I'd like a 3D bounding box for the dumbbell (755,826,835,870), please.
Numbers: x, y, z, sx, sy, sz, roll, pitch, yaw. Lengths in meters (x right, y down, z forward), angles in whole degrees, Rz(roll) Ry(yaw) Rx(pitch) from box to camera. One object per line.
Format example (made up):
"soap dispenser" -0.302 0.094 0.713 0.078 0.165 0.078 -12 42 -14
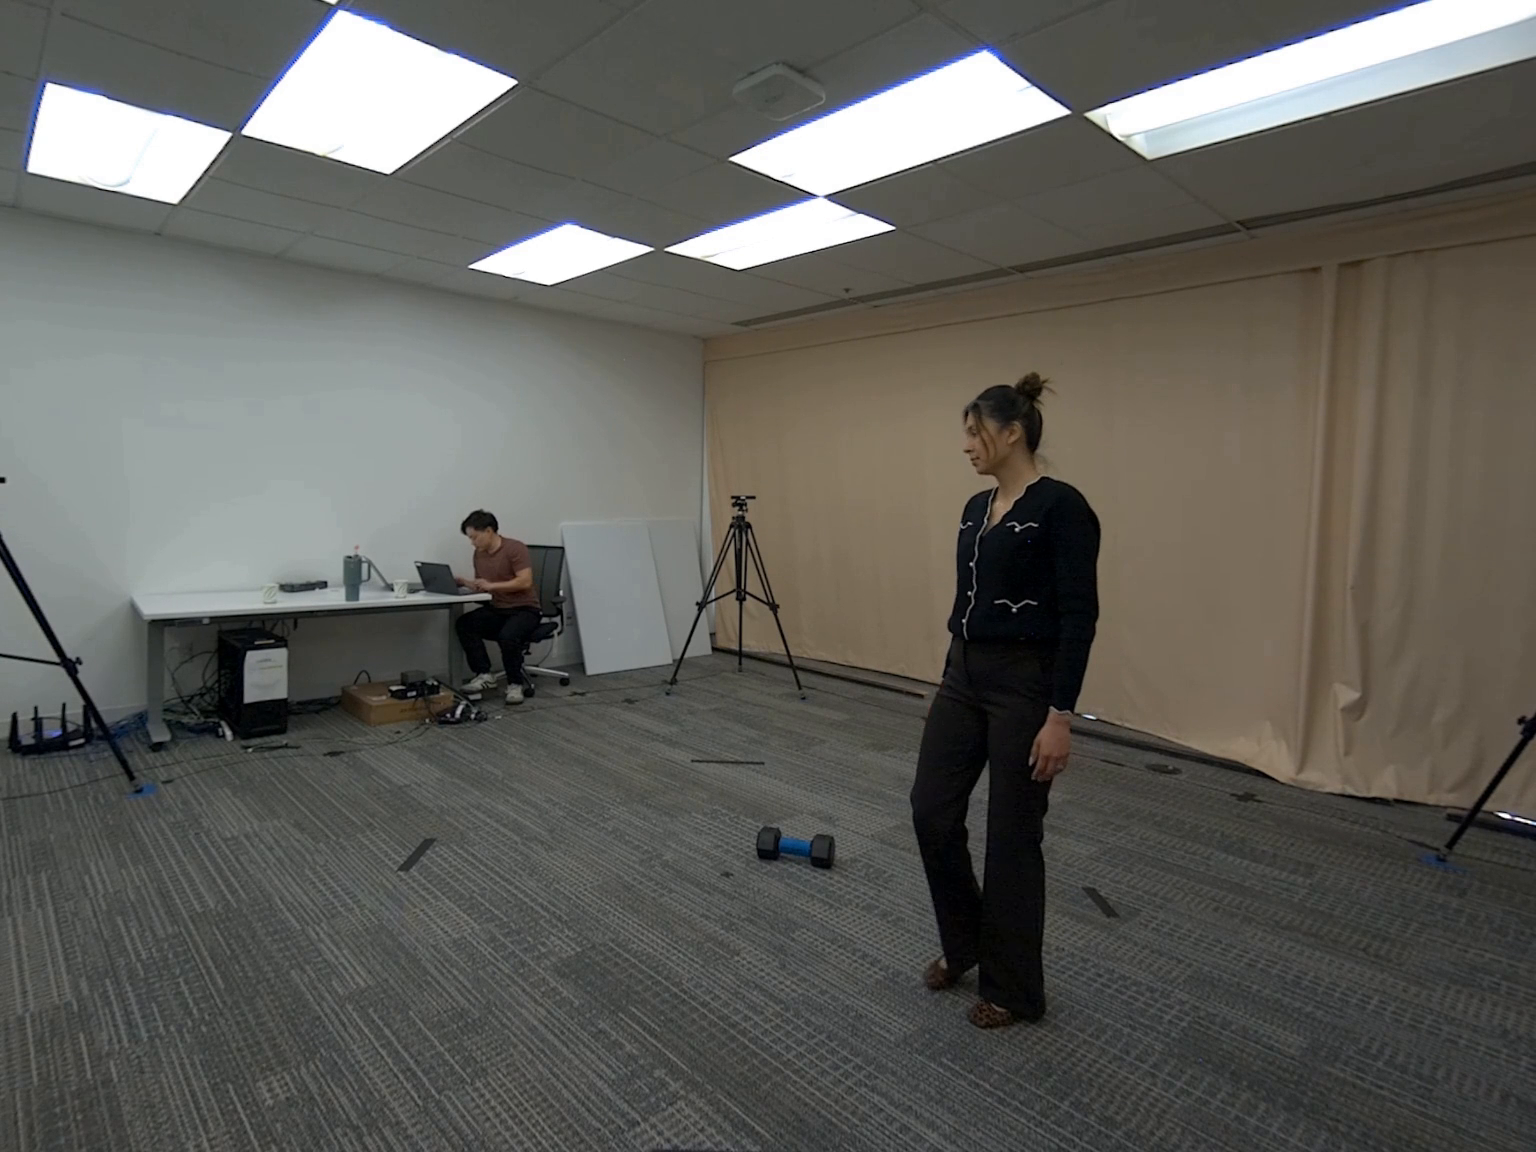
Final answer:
"dumbbell" 0.099 1.040 3.234 0.298 0.120 0.109 3 34 18
